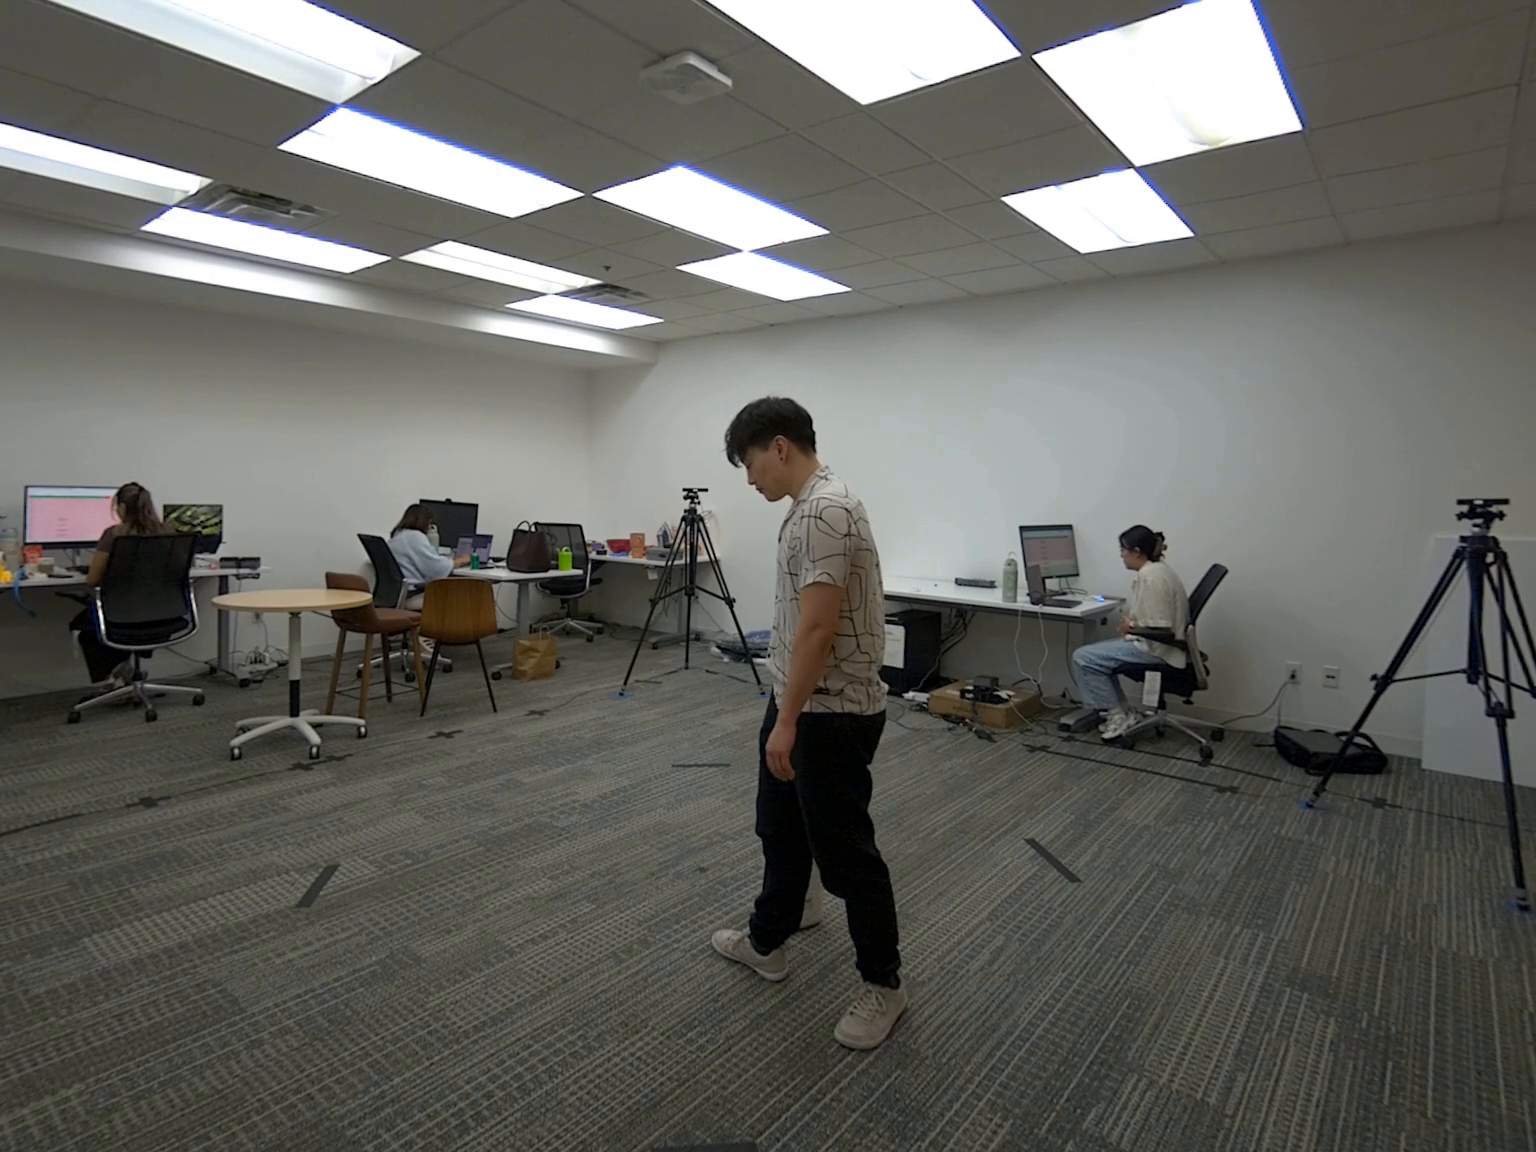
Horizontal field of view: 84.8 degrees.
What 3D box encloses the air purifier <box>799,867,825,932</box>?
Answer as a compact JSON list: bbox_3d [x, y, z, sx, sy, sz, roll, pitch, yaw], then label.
[{"bbox_3d":[0.083,0.973,2.744,0.167,0.265,0.176,0,4,-33],"label":"air purifier"}]
